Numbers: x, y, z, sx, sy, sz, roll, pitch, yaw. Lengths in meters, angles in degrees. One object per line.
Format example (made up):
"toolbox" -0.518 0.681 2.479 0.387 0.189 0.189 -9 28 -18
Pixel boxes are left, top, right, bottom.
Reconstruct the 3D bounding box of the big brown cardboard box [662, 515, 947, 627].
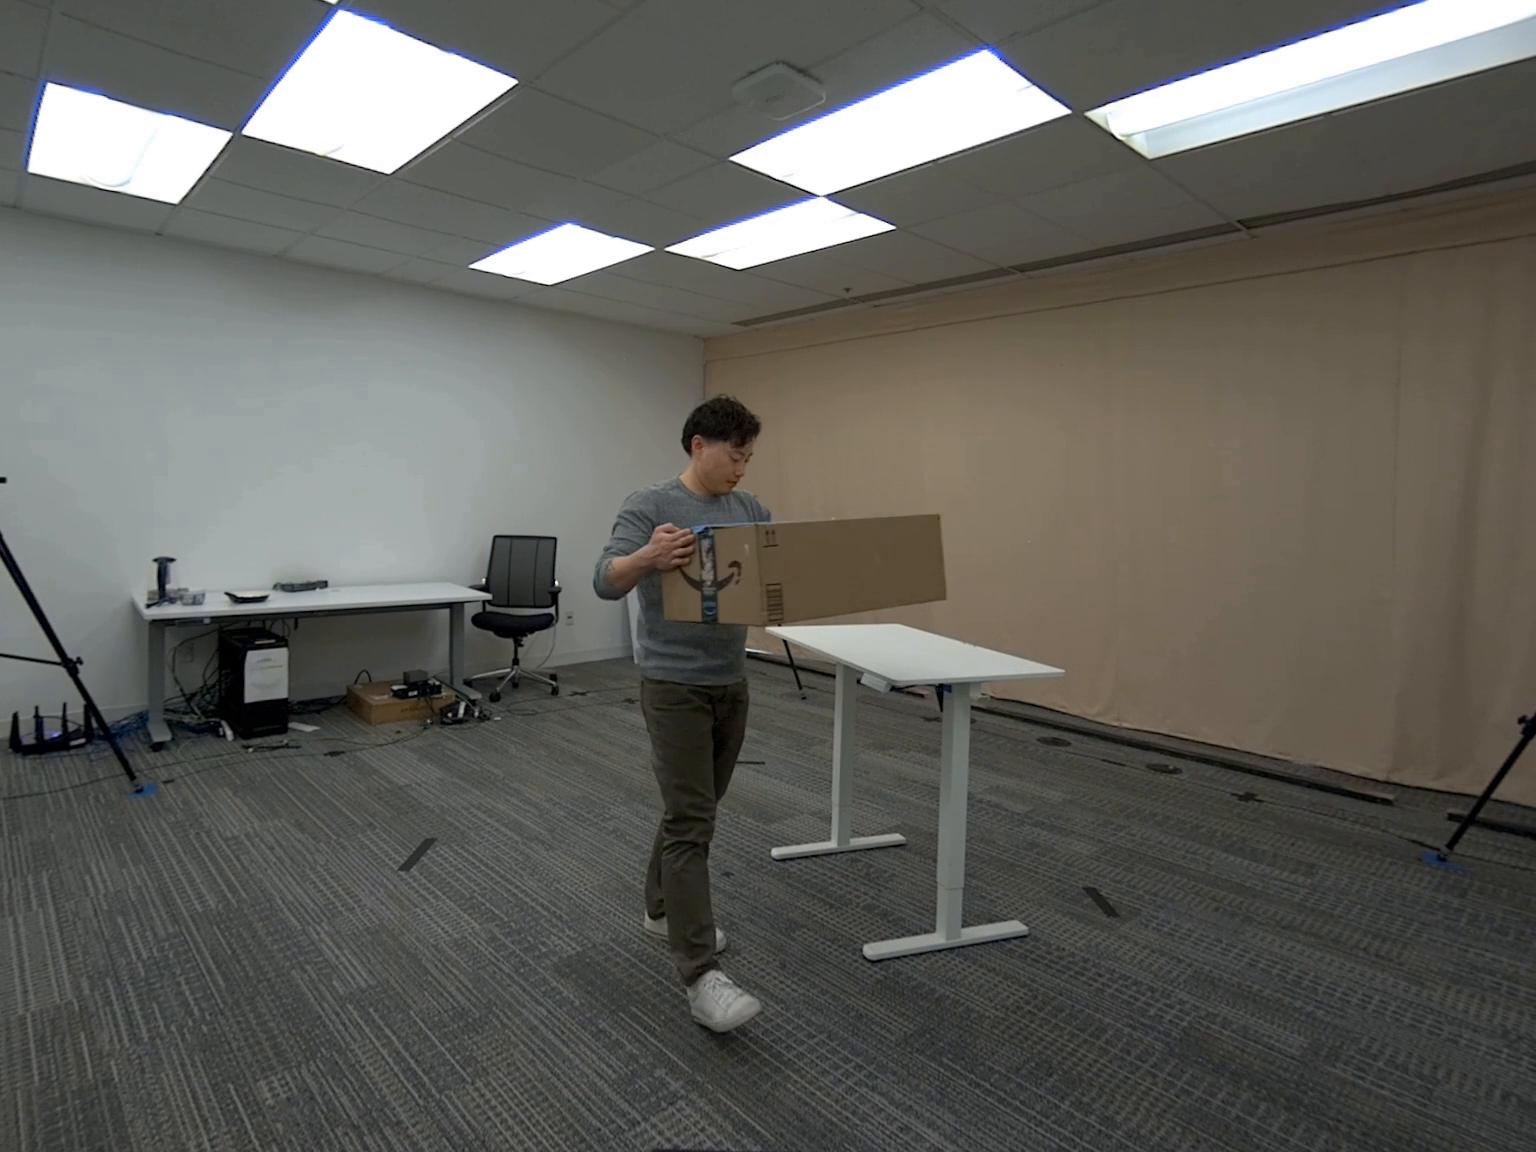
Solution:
"big brown cardboard box" 0.077 -0.021 2.051 0.576 0.233 0.426 -4 2 -36
